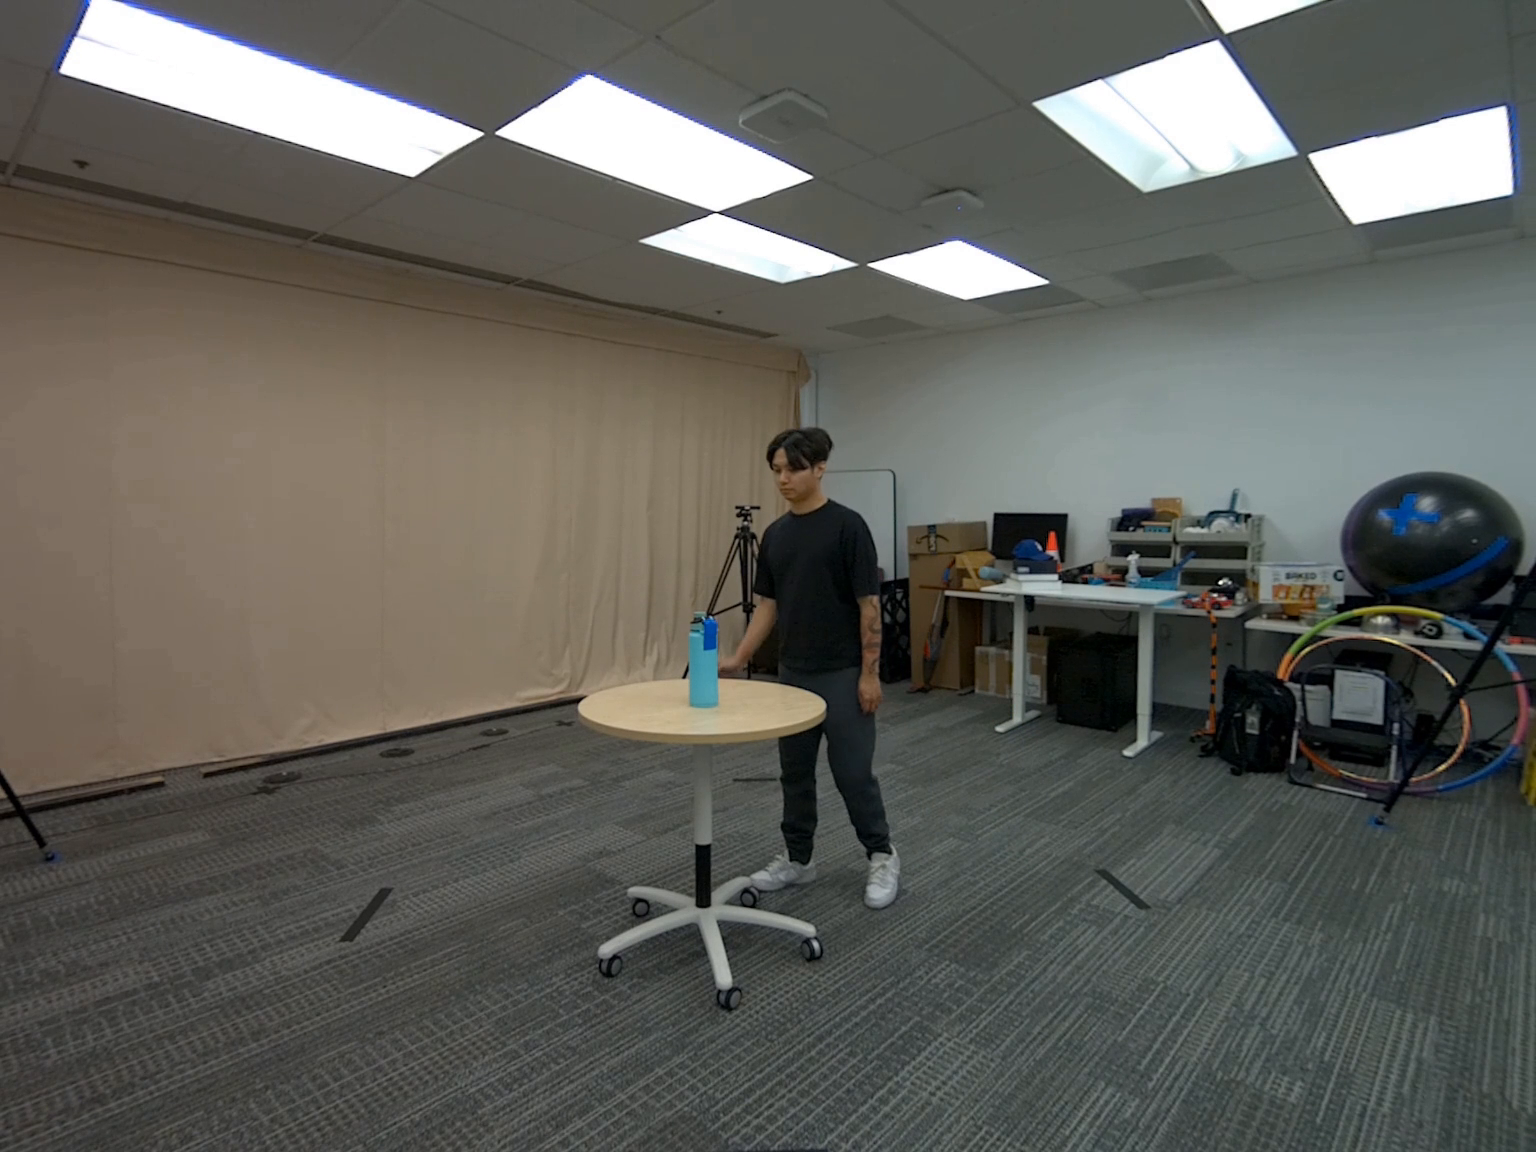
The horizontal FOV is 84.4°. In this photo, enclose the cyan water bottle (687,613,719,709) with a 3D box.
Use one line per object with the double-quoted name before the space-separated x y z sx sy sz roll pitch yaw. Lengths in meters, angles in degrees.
"cyan water bottle" -0.197 0.257 2.577 0.092 0.283 0.092 1 3 -2
